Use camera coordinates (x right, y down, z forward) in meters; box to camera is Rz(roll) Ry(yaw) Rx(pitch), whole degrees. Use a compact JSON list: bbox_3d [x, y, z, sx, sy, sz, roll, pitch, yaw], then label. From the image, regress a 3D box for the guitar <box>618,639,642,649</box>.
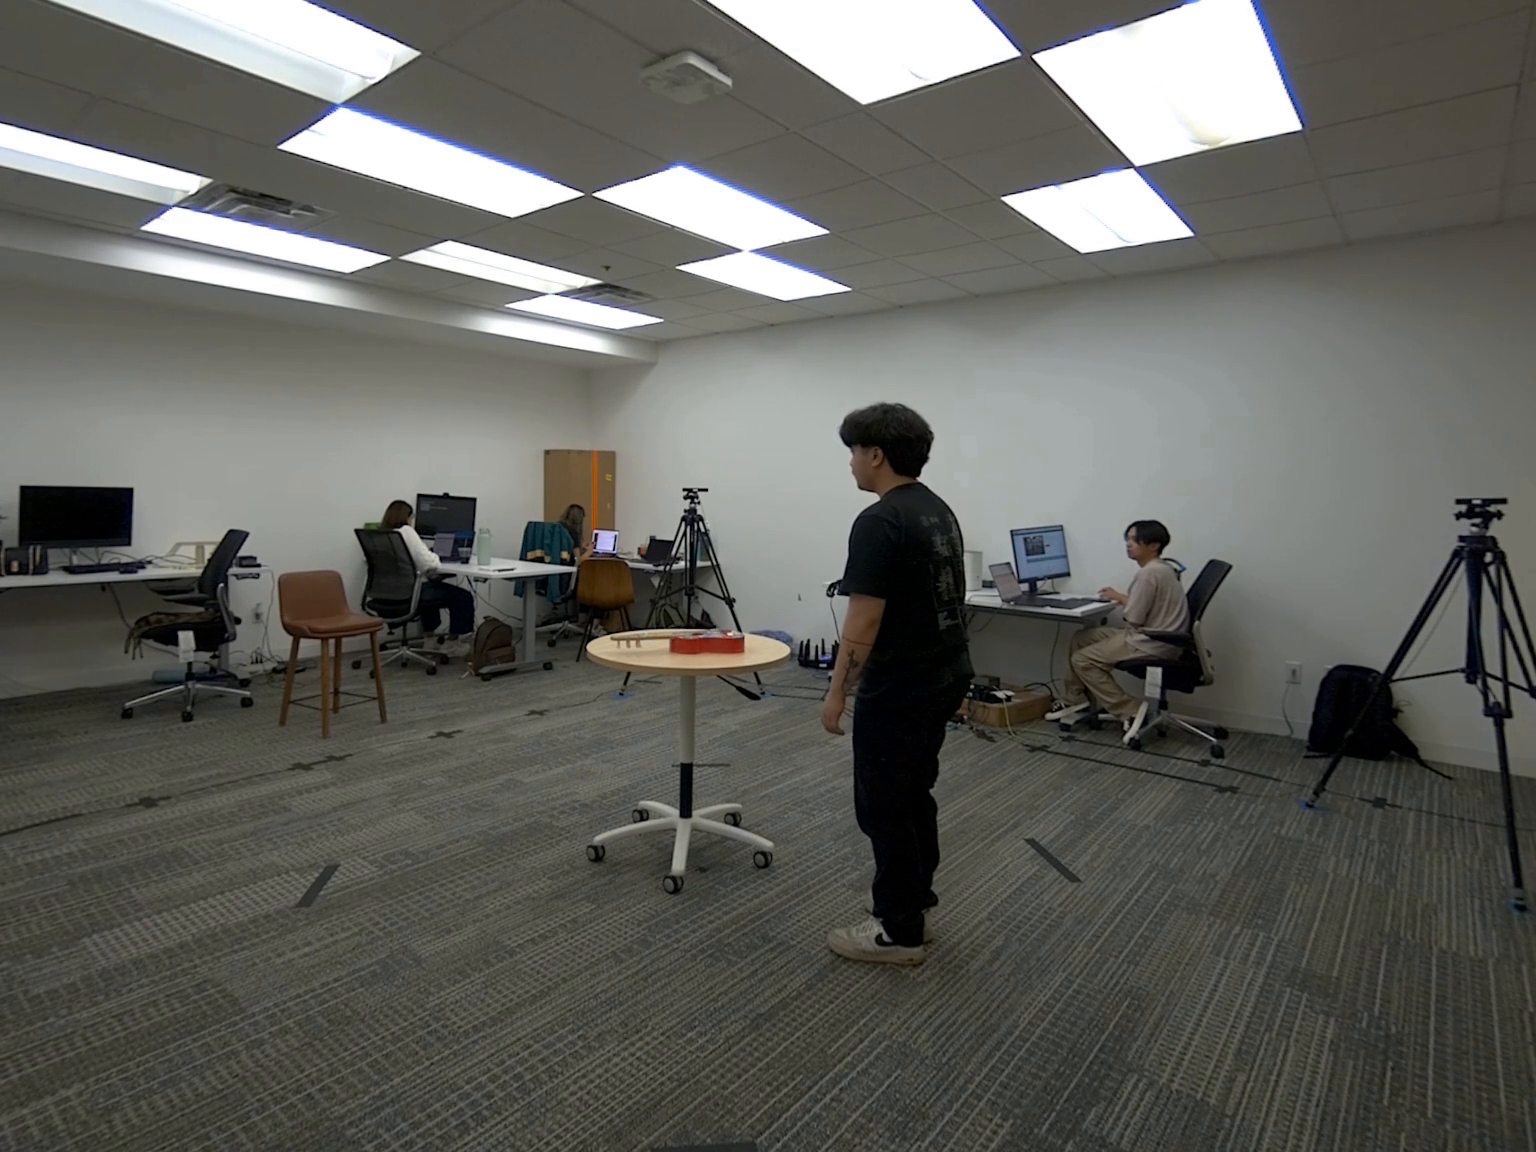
[{"bbox_3d":[-0.322,0.229,3.155,0.491,0.070,0.196,-1,4,-12],"label":"guitar"}]
